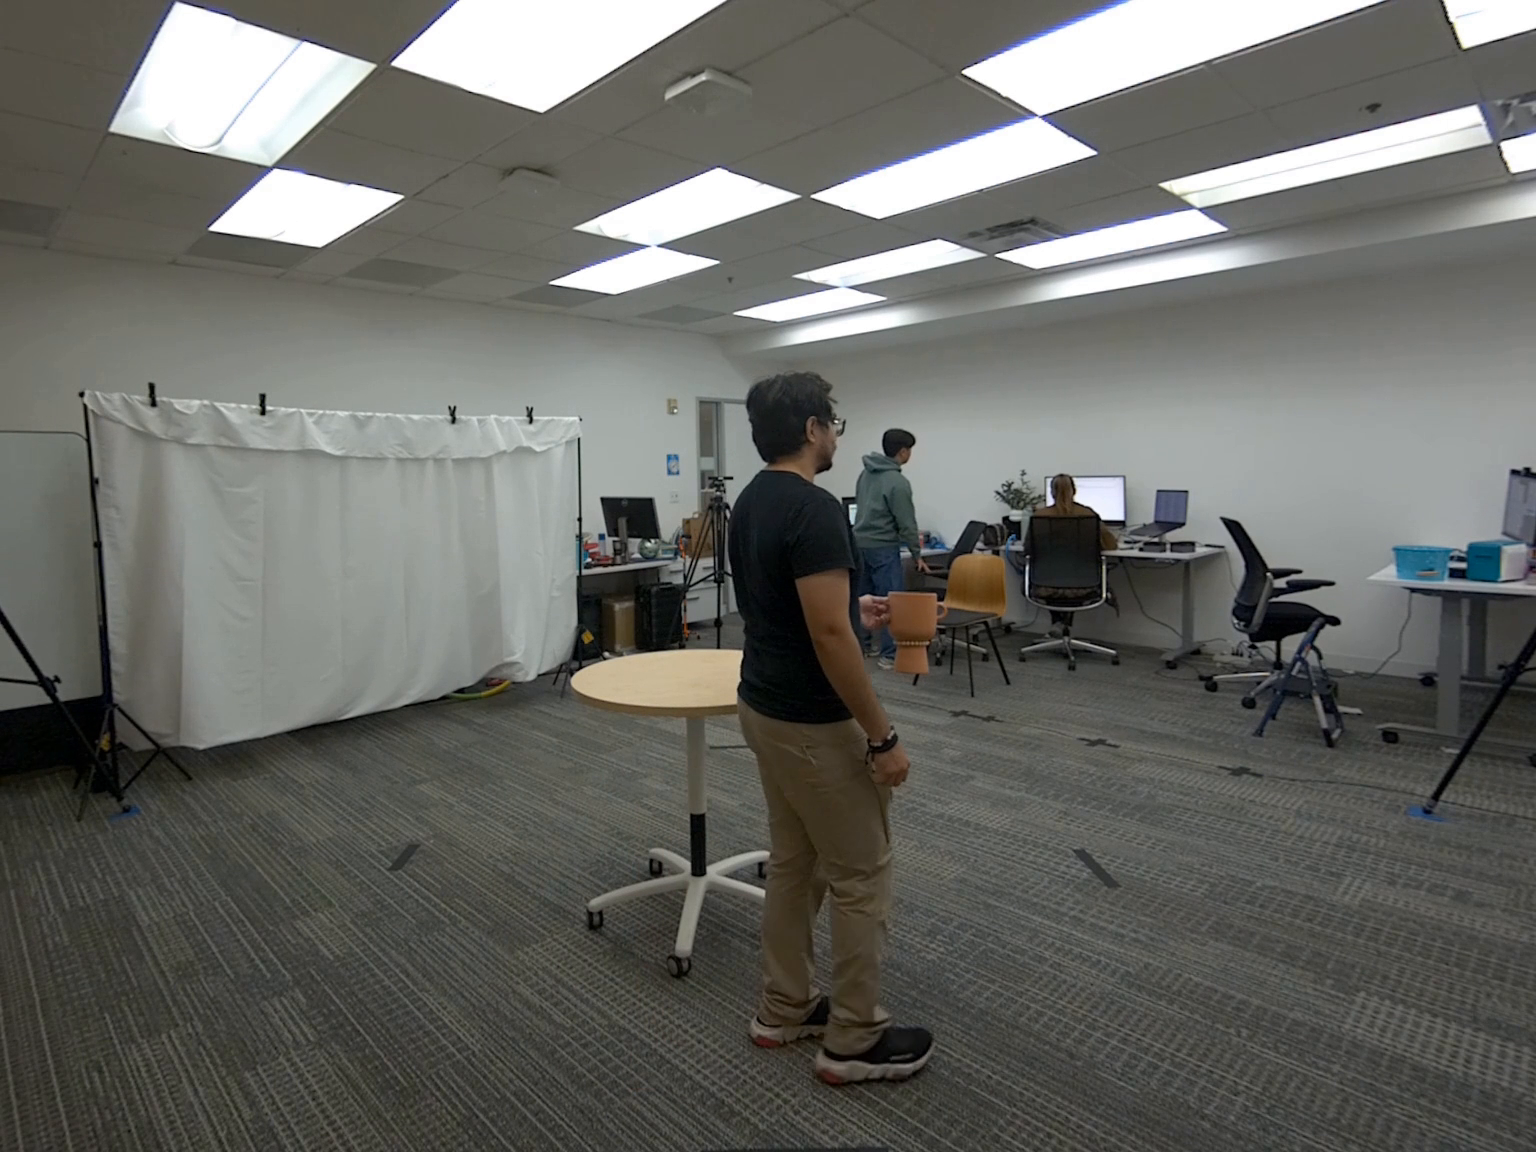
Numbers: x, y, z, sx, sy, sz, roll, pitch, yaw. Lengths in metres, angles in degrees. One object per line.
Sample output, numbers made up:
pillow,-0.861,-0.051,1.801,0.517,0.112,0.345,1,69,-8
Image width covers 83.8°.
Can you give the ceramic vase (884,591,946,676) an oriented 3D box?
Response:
ceramic vase,0.412,0.159,2.391,0.163,0.220,0.131,0,-1,32
